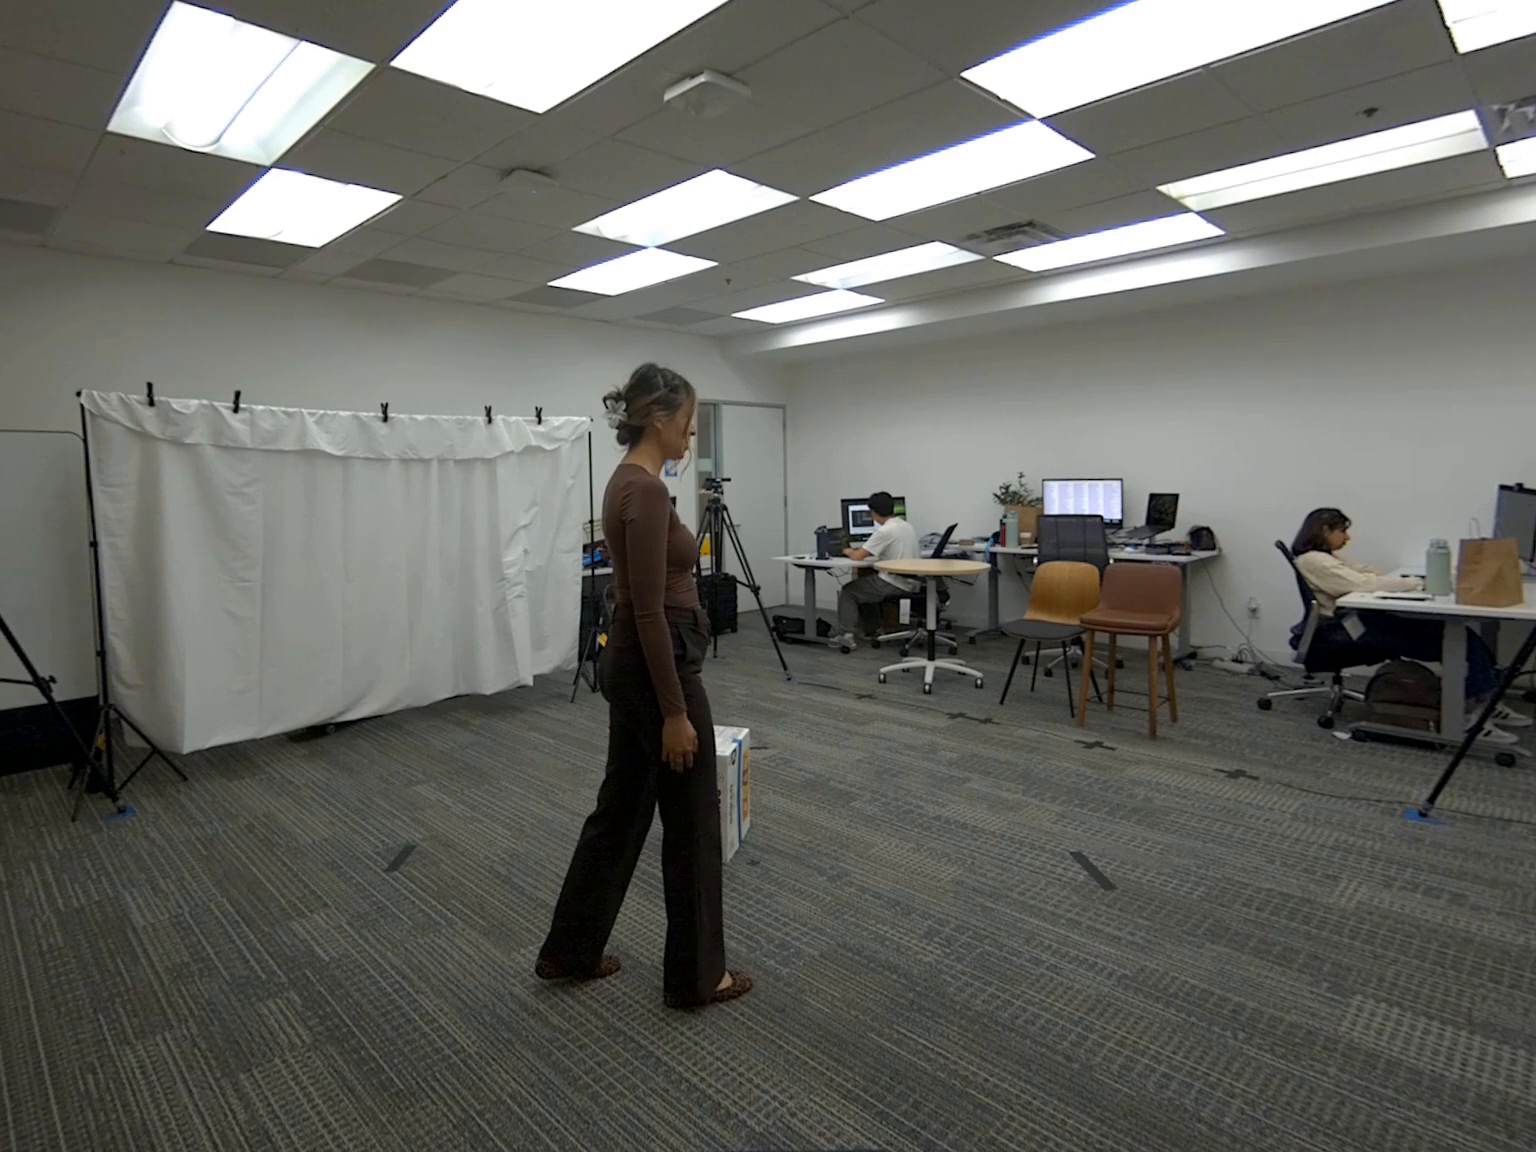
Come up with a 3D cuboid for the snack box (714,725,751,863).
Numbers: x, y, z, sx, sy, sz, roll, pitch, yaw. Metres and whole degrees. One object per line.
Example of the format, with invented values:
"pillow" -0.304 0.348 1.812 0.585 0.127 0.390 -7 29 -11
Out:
"snack box" -0.204 0.821 3.272 0.209 0.403 0.337 0 5 14
